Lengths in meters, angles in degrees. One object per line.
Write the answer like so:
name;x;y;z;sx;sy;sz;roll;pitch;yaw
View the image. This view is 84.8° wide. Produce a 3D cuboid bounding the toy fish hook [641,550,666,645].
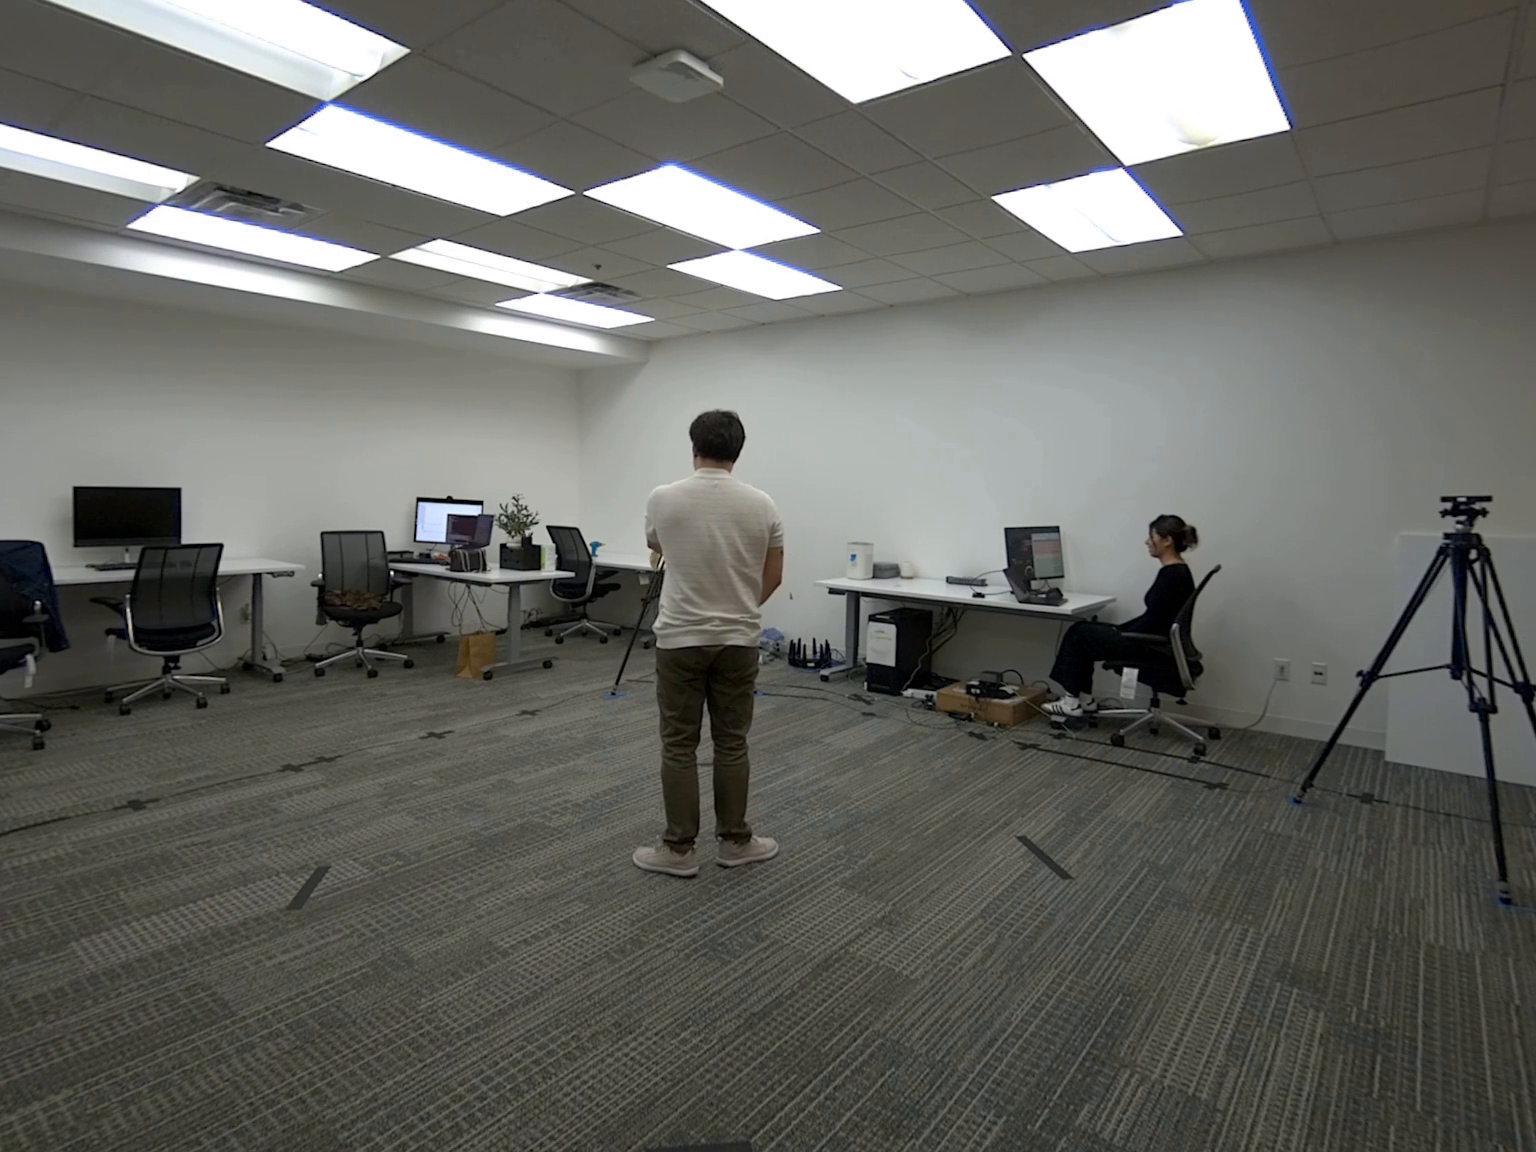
toy fish hook;-0.398;0.048;3.539;0.228;0.502;0.048;9;10;12
